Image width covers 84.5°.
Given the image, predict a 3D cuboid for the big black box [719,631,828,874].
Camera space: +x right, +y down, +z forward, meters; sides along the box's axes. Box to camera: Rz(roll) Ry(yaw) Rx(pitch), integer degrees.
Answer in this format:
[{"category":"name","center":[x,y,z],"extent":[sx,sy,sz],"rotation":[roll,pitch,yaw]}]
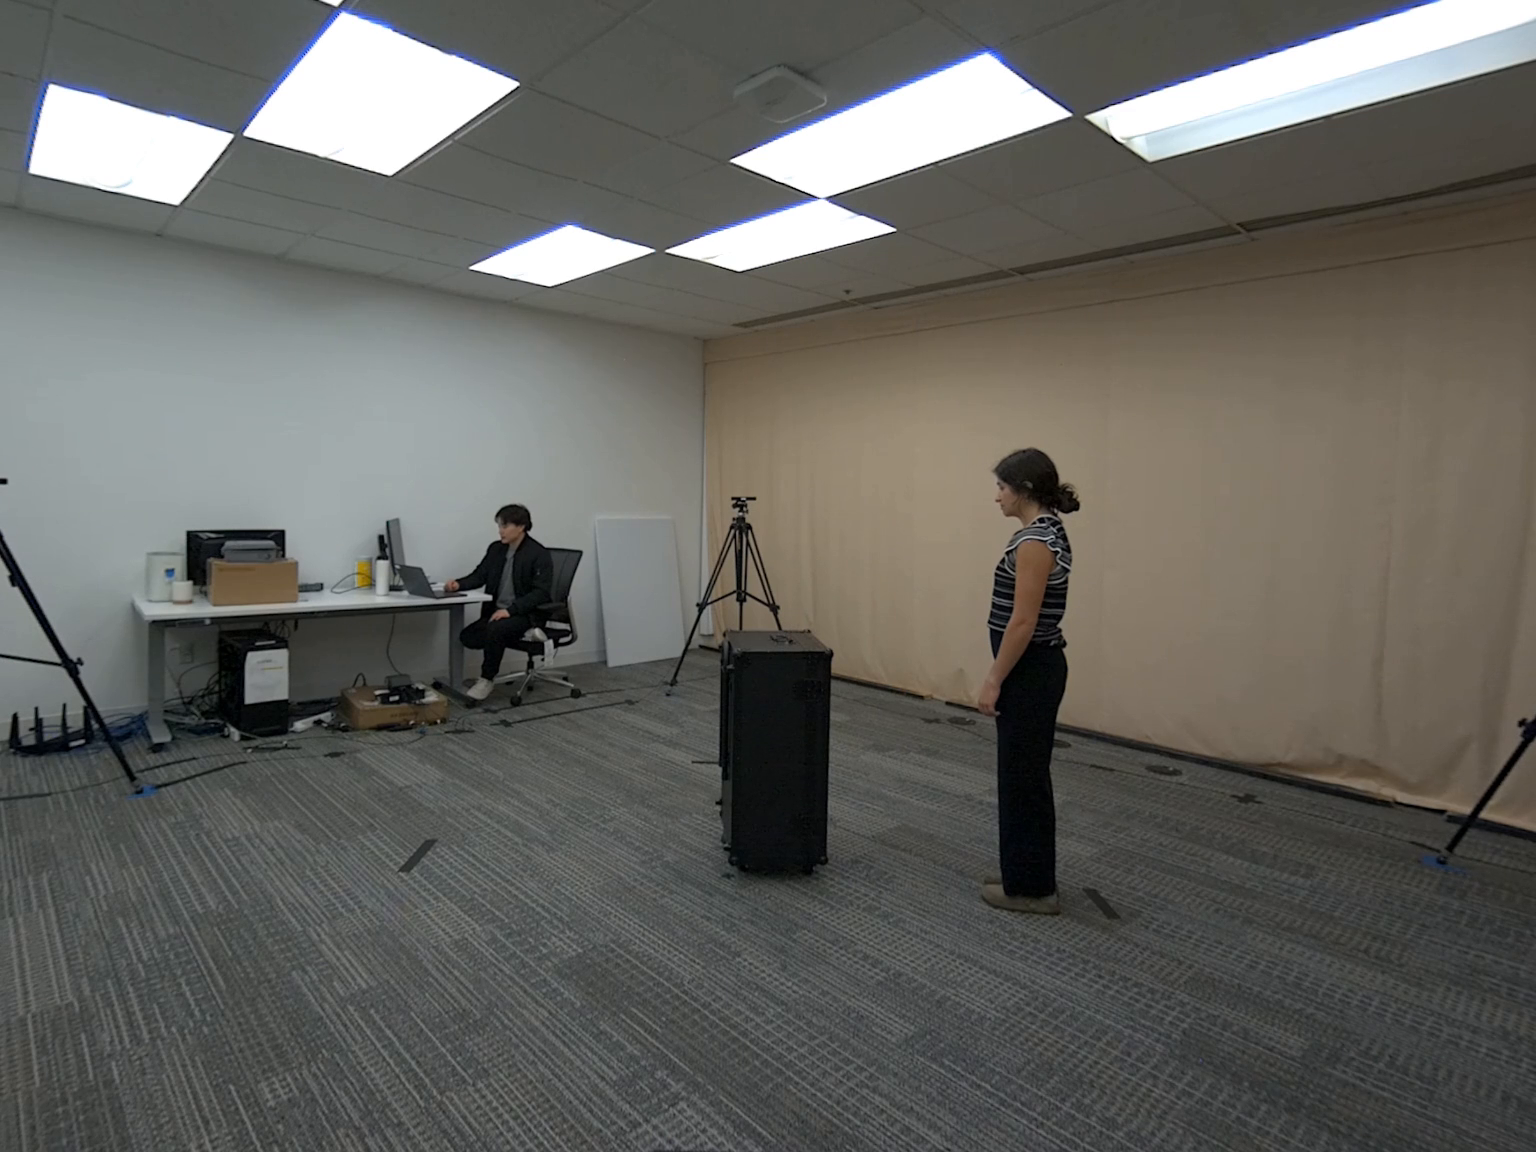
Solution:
[{"category":"big black box","center":[-0.002,0.670,3.259],"extent":[0.395,0.859,0.524],"rotation":[1,4,-5]}]
